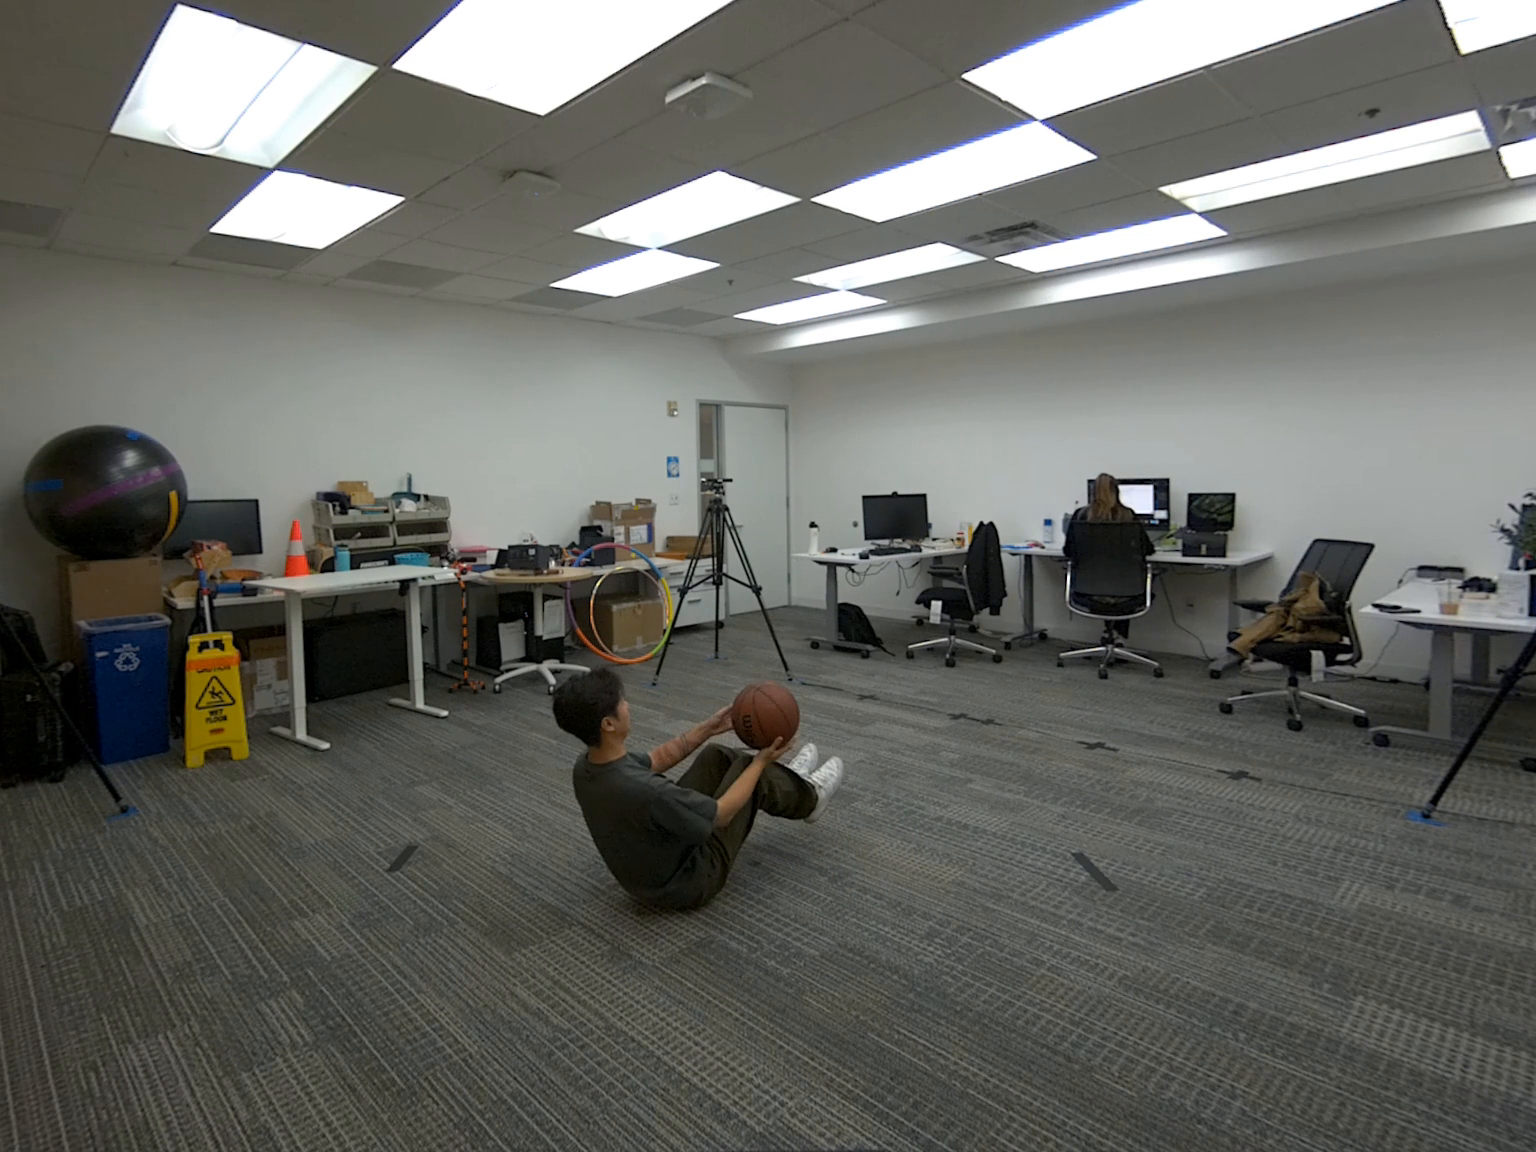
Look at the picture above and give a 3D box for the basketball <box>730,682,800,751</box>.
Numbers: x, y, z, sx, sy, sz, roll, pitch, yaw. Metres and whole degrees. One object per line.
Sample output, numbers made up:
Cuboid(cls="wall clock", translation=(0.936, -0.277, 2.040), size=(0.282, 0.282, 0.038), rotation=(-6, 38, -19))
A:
Cuboid(cls="basketball", translation=(-0.006, 0.494, 2.960), size=(0.236, 0.235, 0.237), rotation=(-1, 5, -2))
